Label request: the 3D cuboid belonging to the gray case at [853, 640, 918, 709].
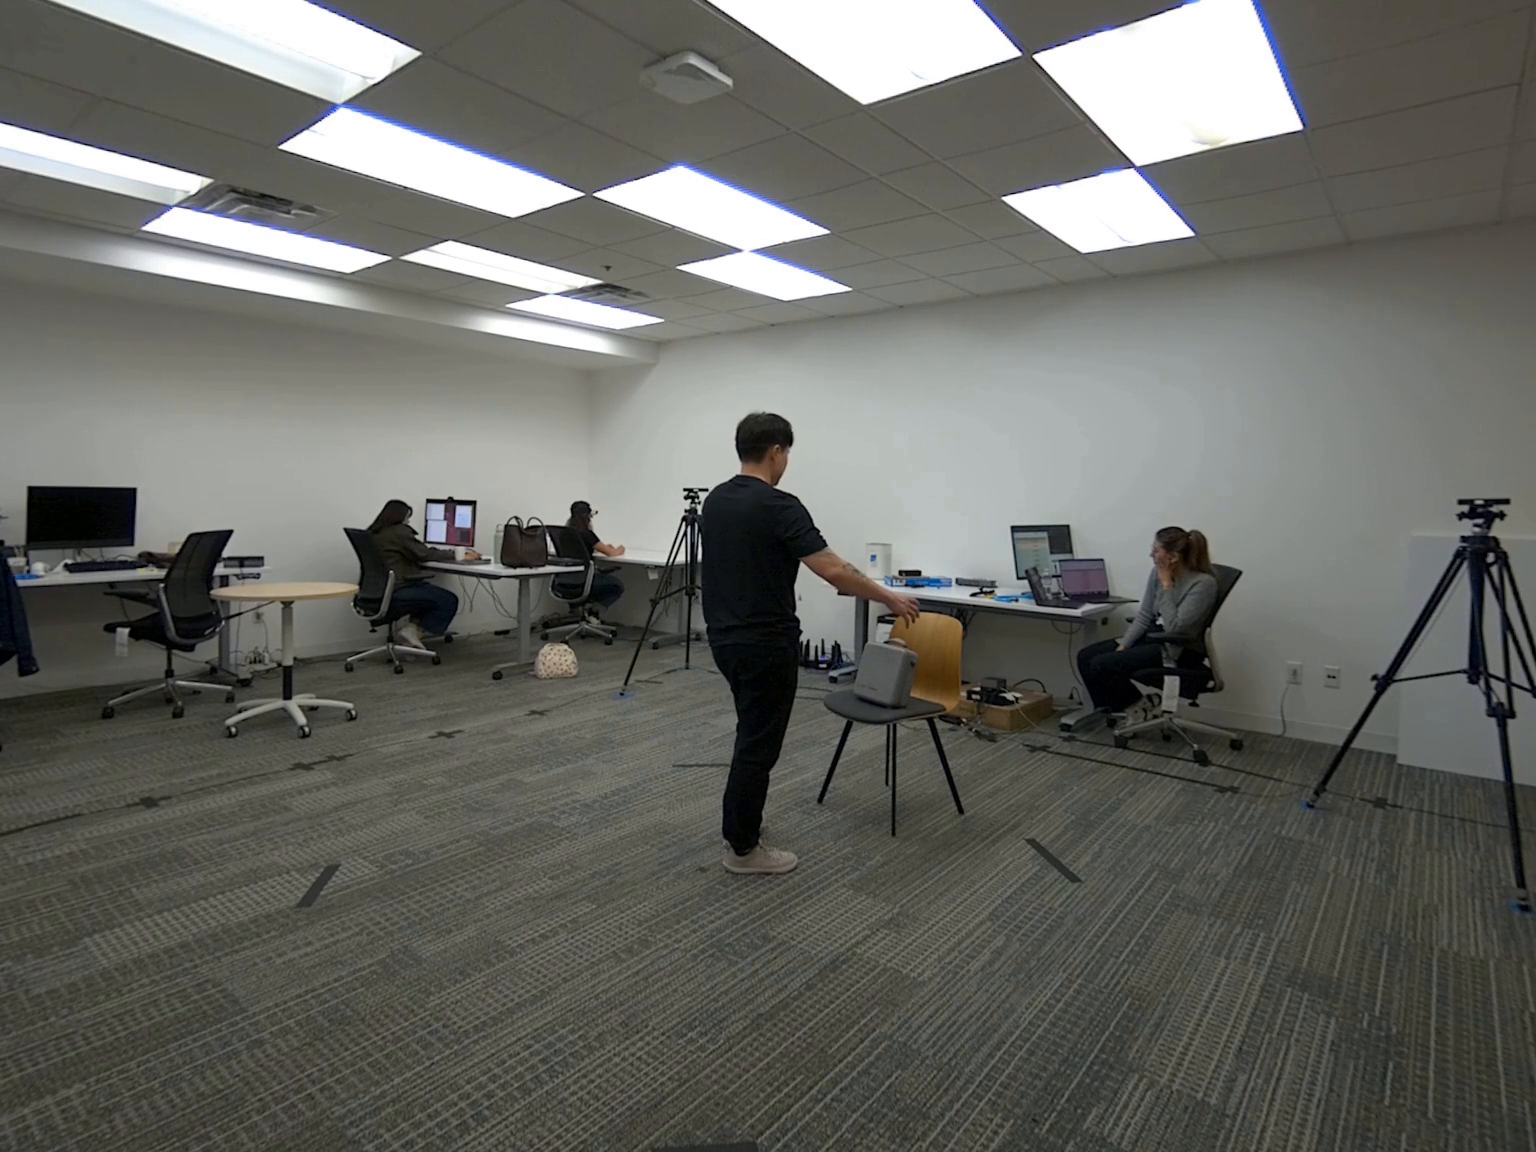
[{"bbox_3d":[0.506,0.417,3.695,0.101,0.261,0.265,15,-5,-33],"label":"gray case"}]
